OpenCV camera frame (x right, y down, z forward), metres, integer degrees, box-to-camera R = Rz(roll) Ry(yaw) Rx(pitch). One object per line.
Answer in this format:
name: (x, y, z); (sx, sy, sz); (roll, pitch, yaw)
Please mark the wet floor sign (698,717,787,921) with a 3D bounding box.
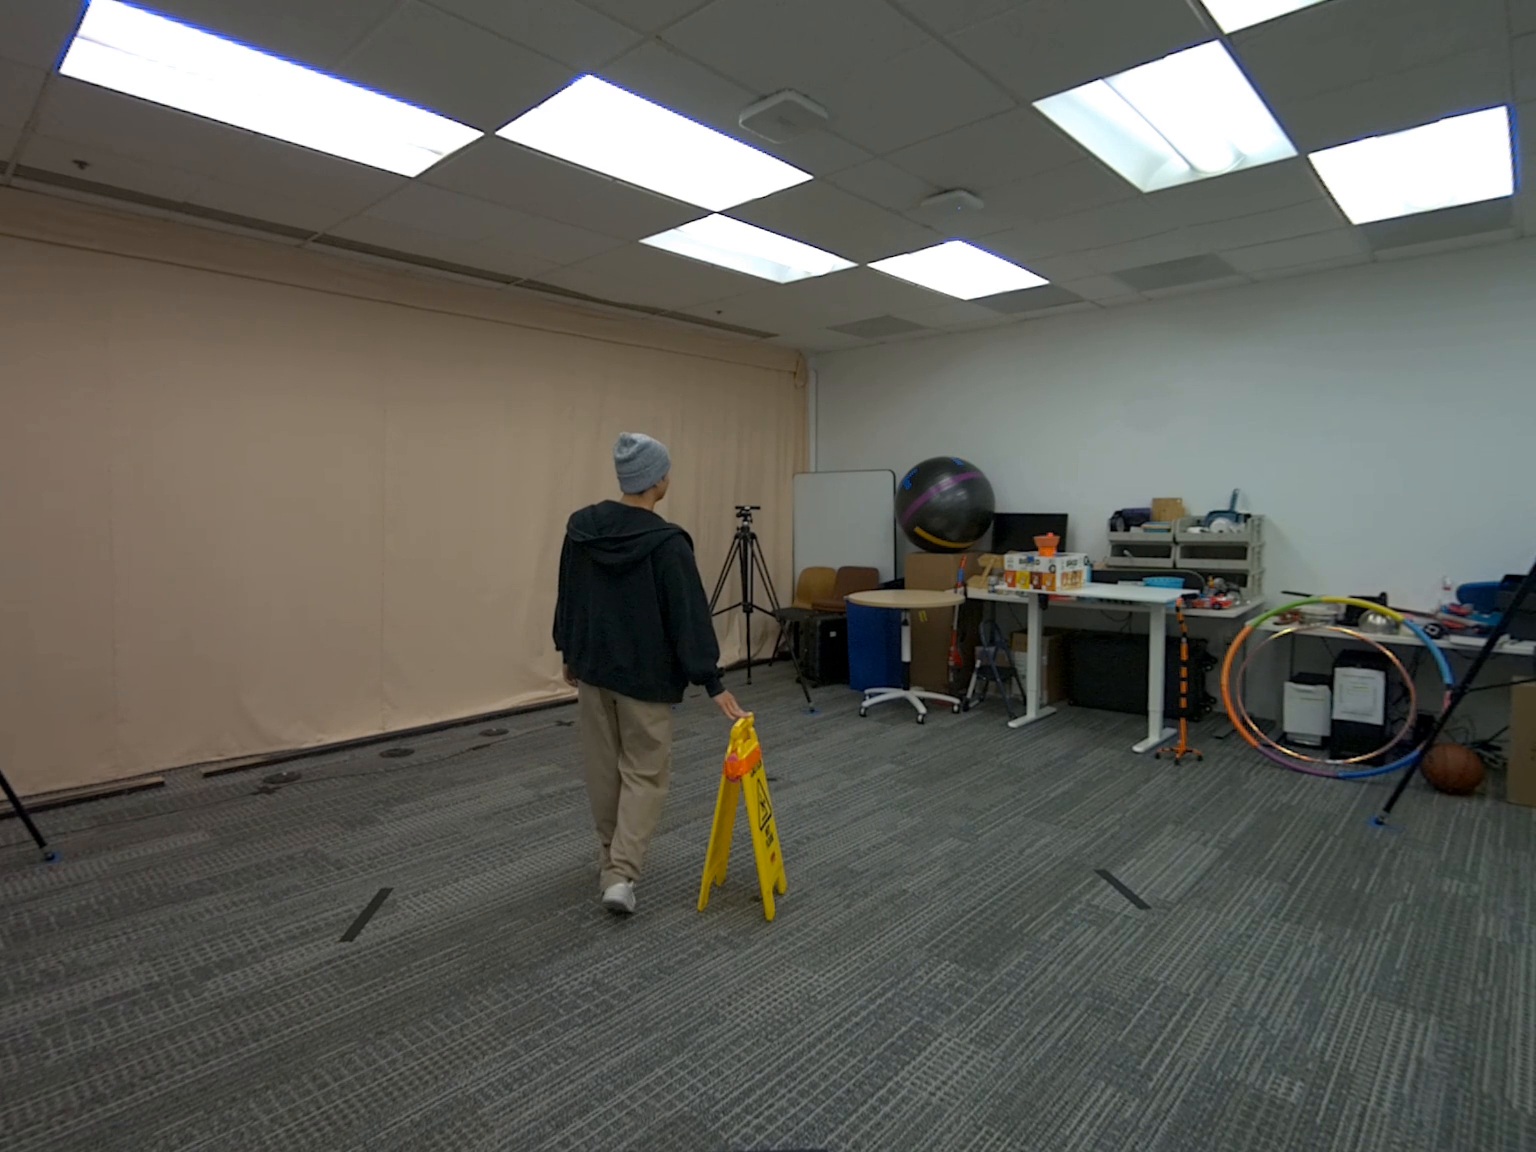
wet floor sign: (-0.089, 0.823, 2.964); (0.295, 0.645, 0.278); (1, 3, 15)
